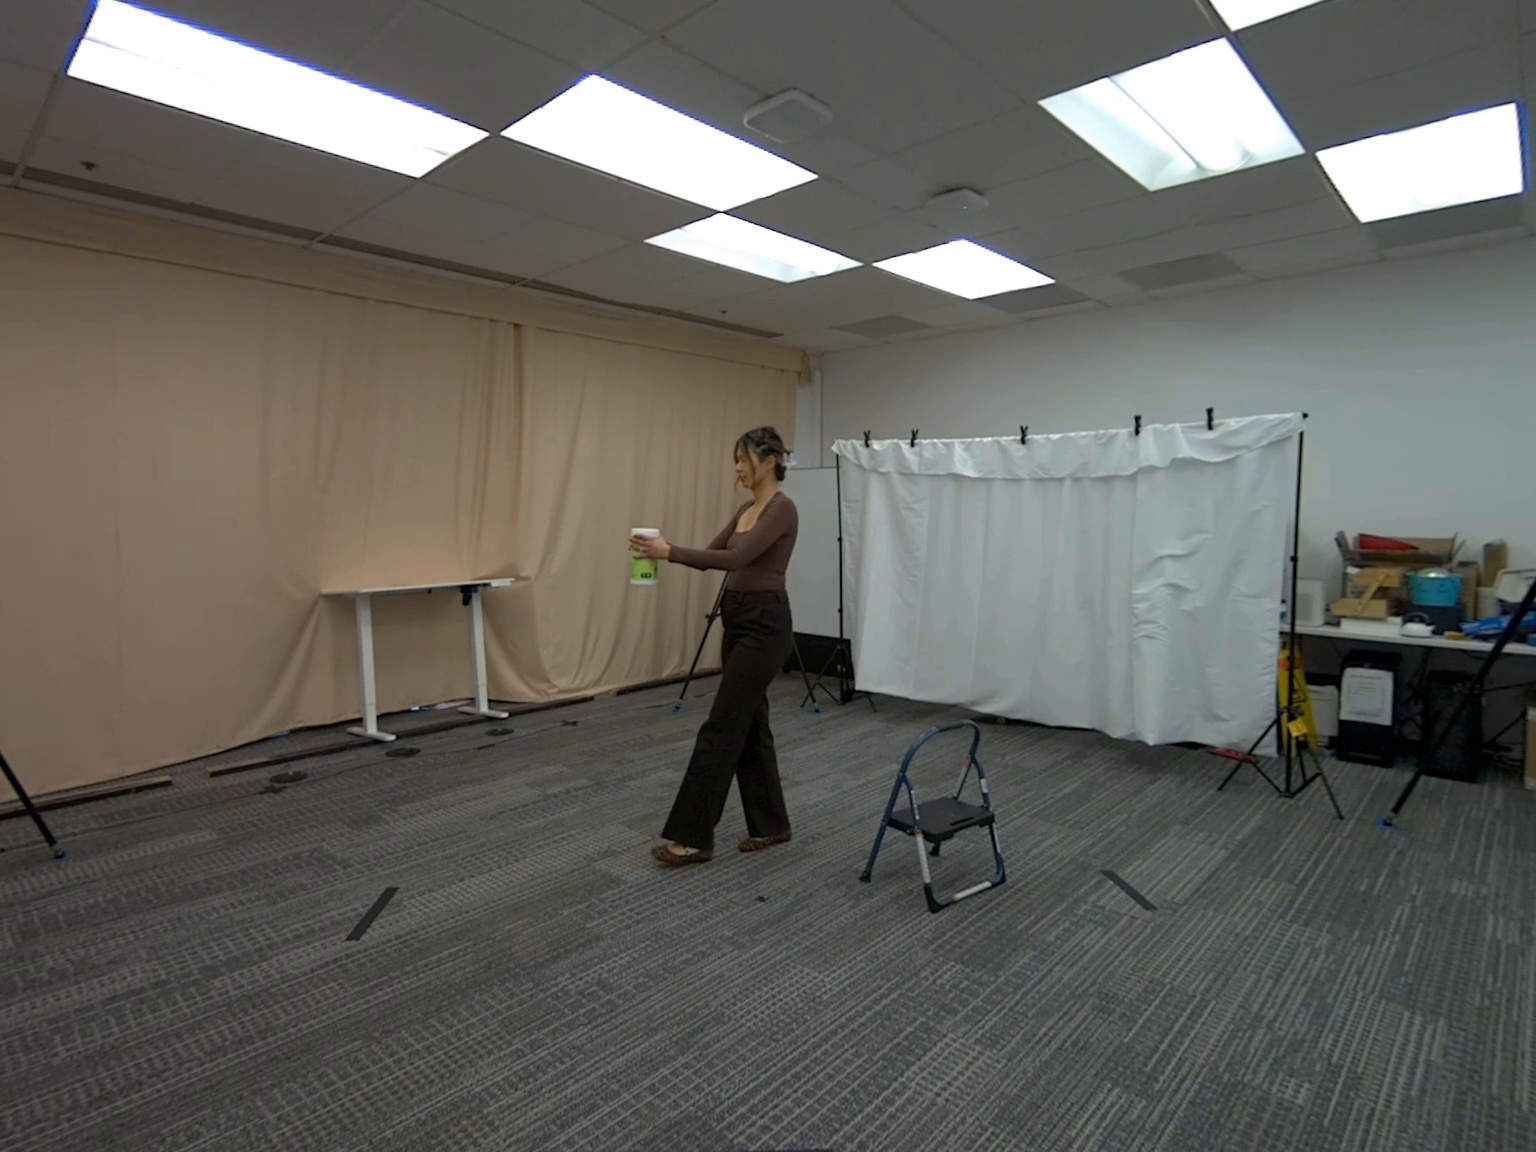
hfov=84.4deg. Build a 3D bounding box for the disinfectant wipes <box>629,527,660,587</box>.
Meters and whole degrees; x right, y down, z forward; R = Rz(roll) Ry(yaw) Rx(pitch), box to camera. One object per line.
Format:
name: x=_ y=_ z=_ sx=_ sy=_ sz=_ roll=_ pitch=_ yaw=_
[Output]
disinfectant wipes: x=-0.474 y=-0.073 z=3.257 sx=0.117 sy=0.217 sz=0.118 roll=2 pitch=5 yaw=-2
